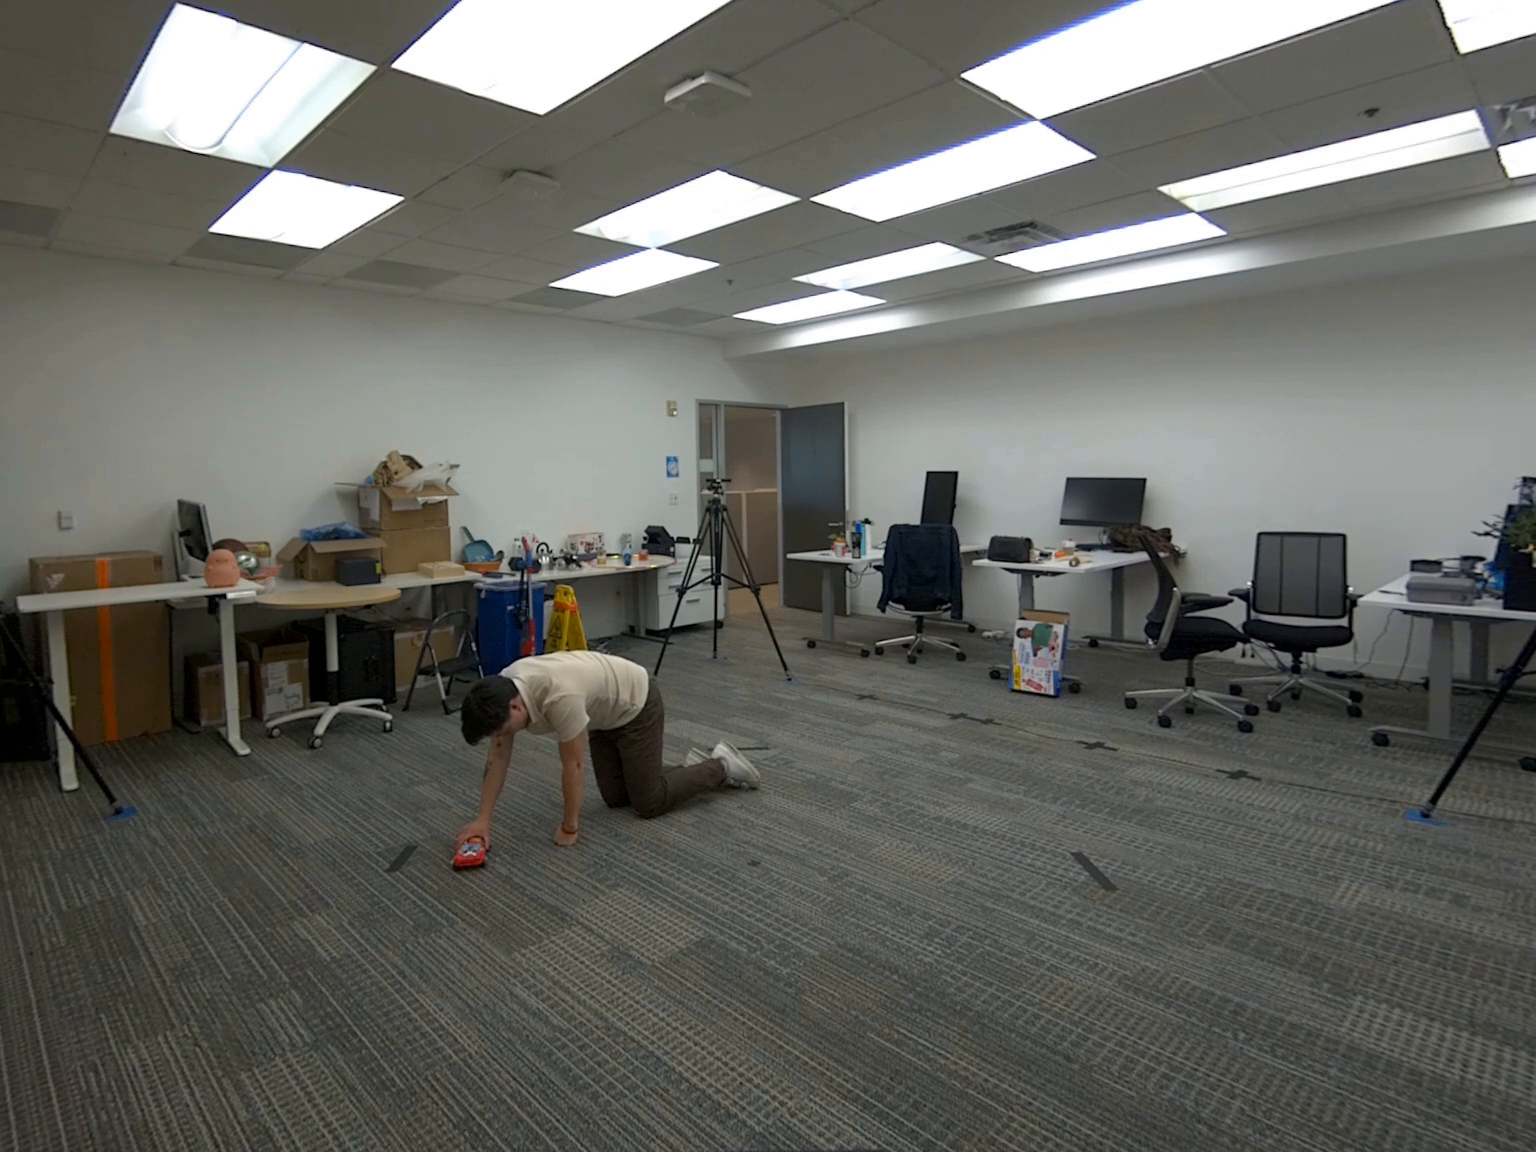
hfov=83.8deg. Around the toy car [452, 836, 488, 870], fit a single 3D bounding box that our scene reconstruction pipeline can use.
[{"bbox_3d":[-1.110,1.023,3.210,0.129,0.082,0.260,-2,13,-12],"label":"toy car"}]
